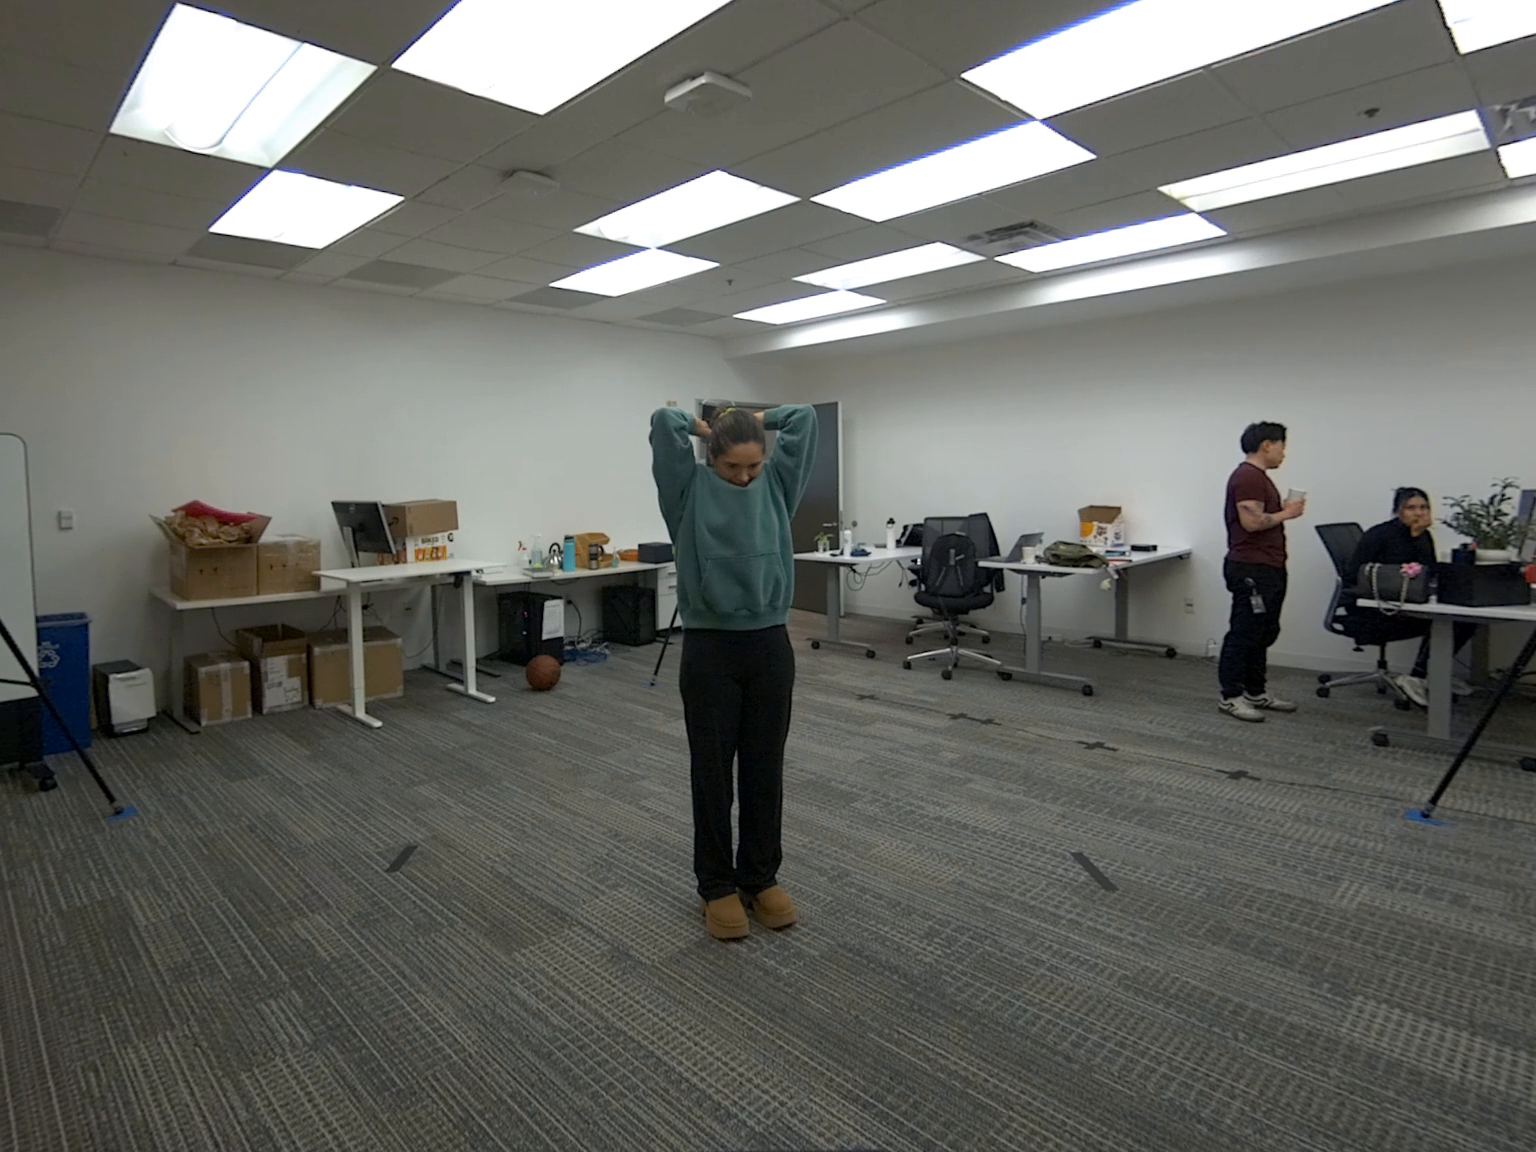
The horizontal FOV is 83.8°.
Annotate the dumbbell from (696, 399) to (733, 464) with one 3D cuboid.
[{"bbox_3d":[-0.168,-0.435,2.818,0.108,0.290,0.126,2,16,-10],"label":"dumbbell"}]
